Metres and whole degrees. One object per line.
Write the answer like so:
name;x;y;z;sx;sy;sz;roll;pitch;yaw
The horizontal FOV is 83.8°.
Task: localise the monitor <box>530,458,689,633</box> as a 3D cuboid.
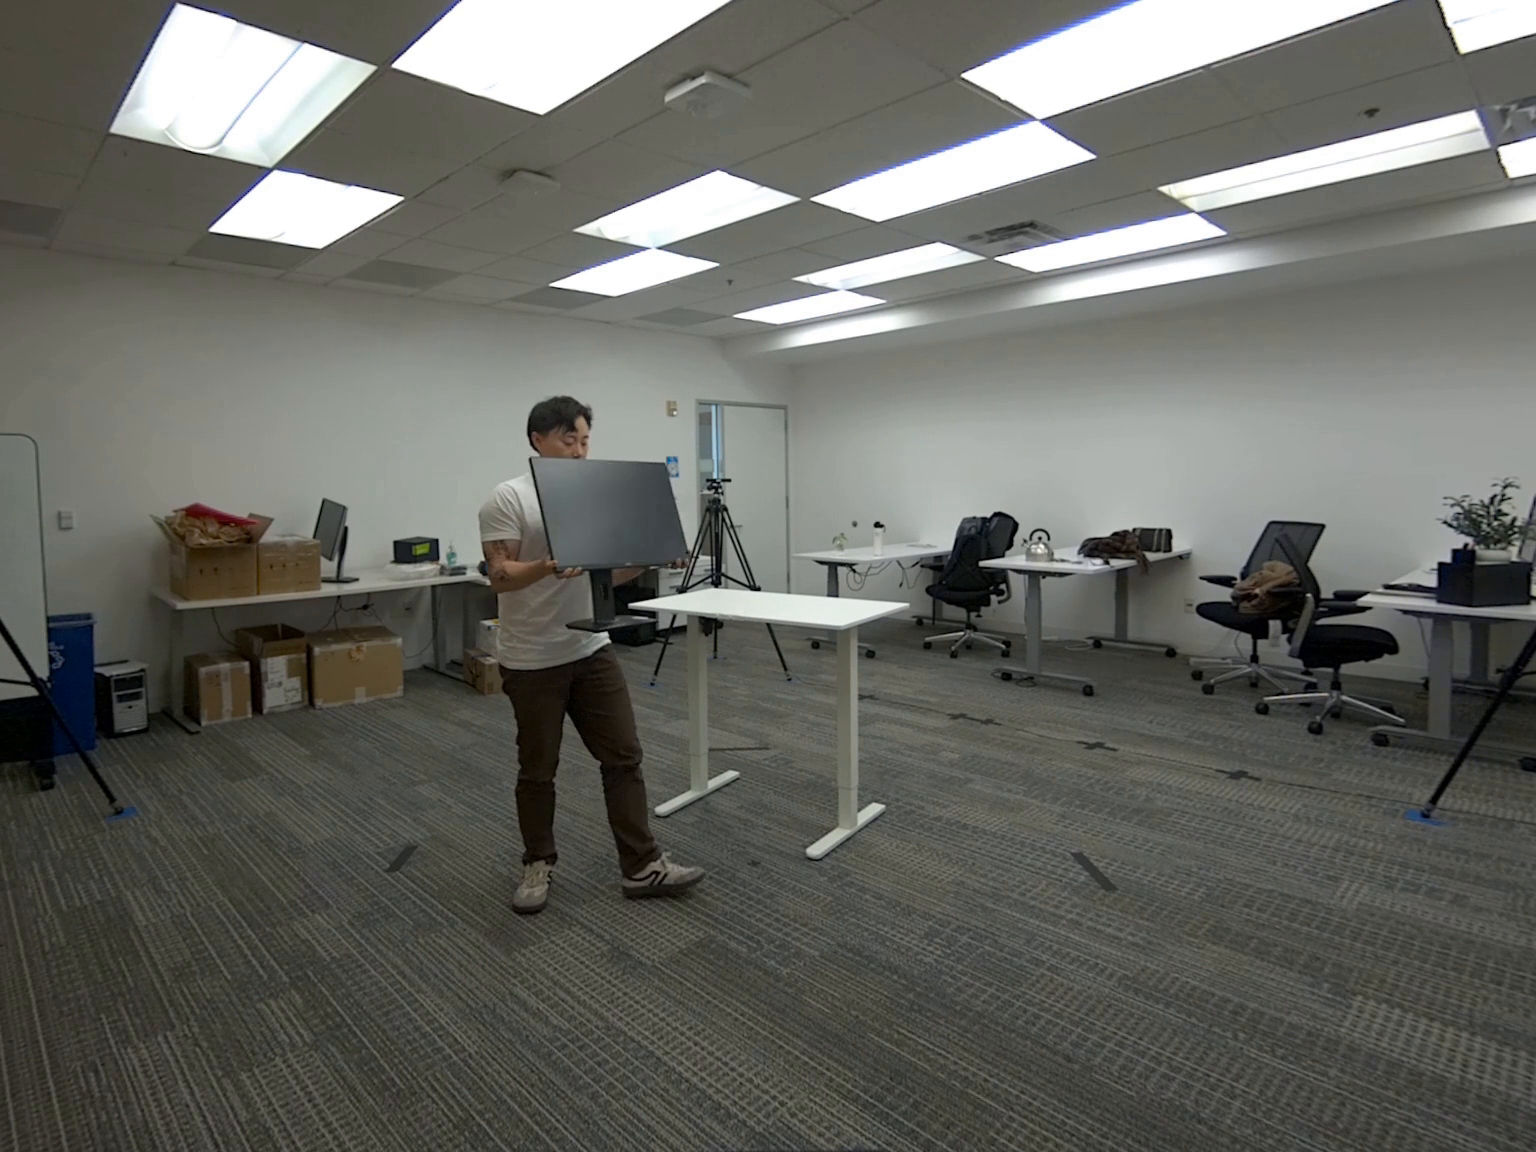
monitor;-0.490;-0.104;2.661;0.192;0.523;0.524;-6;-1;39
